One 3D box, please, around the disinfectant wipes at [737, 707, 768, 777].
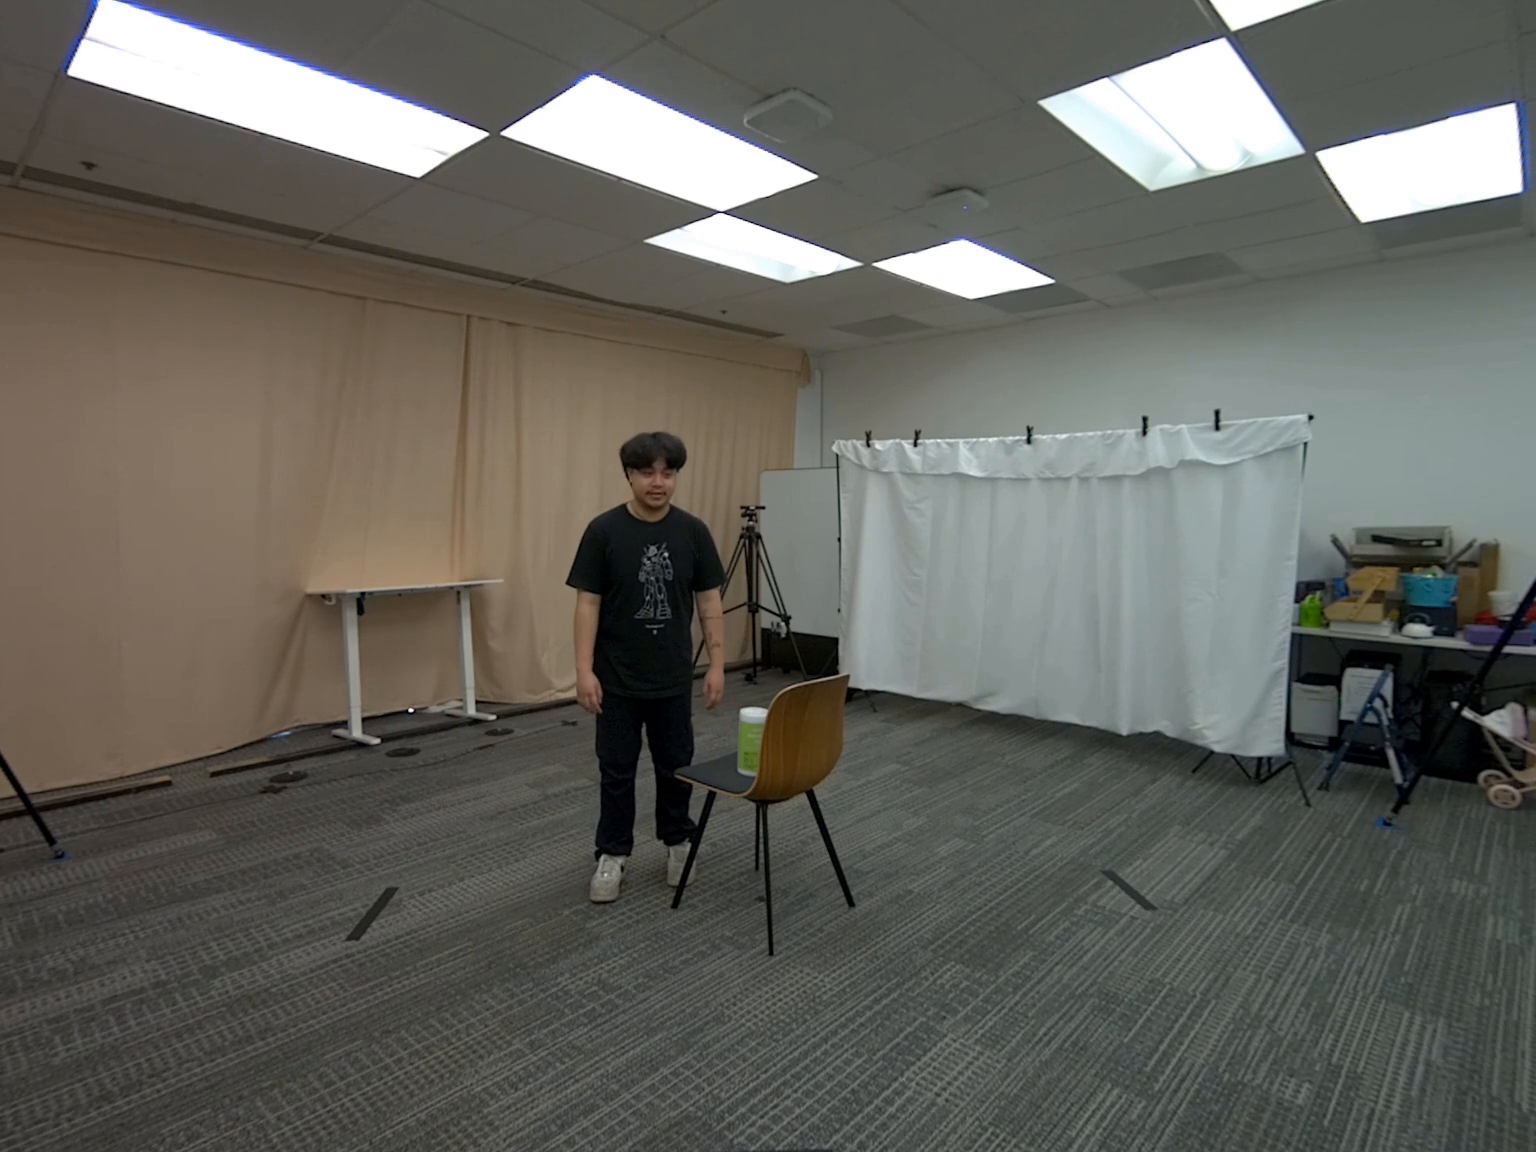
[{"bbox_3d":[-0.045,0.573,2.898,0.117,0.217,0.118,2,6,-2],"label":"disinfectant wipes"}]
